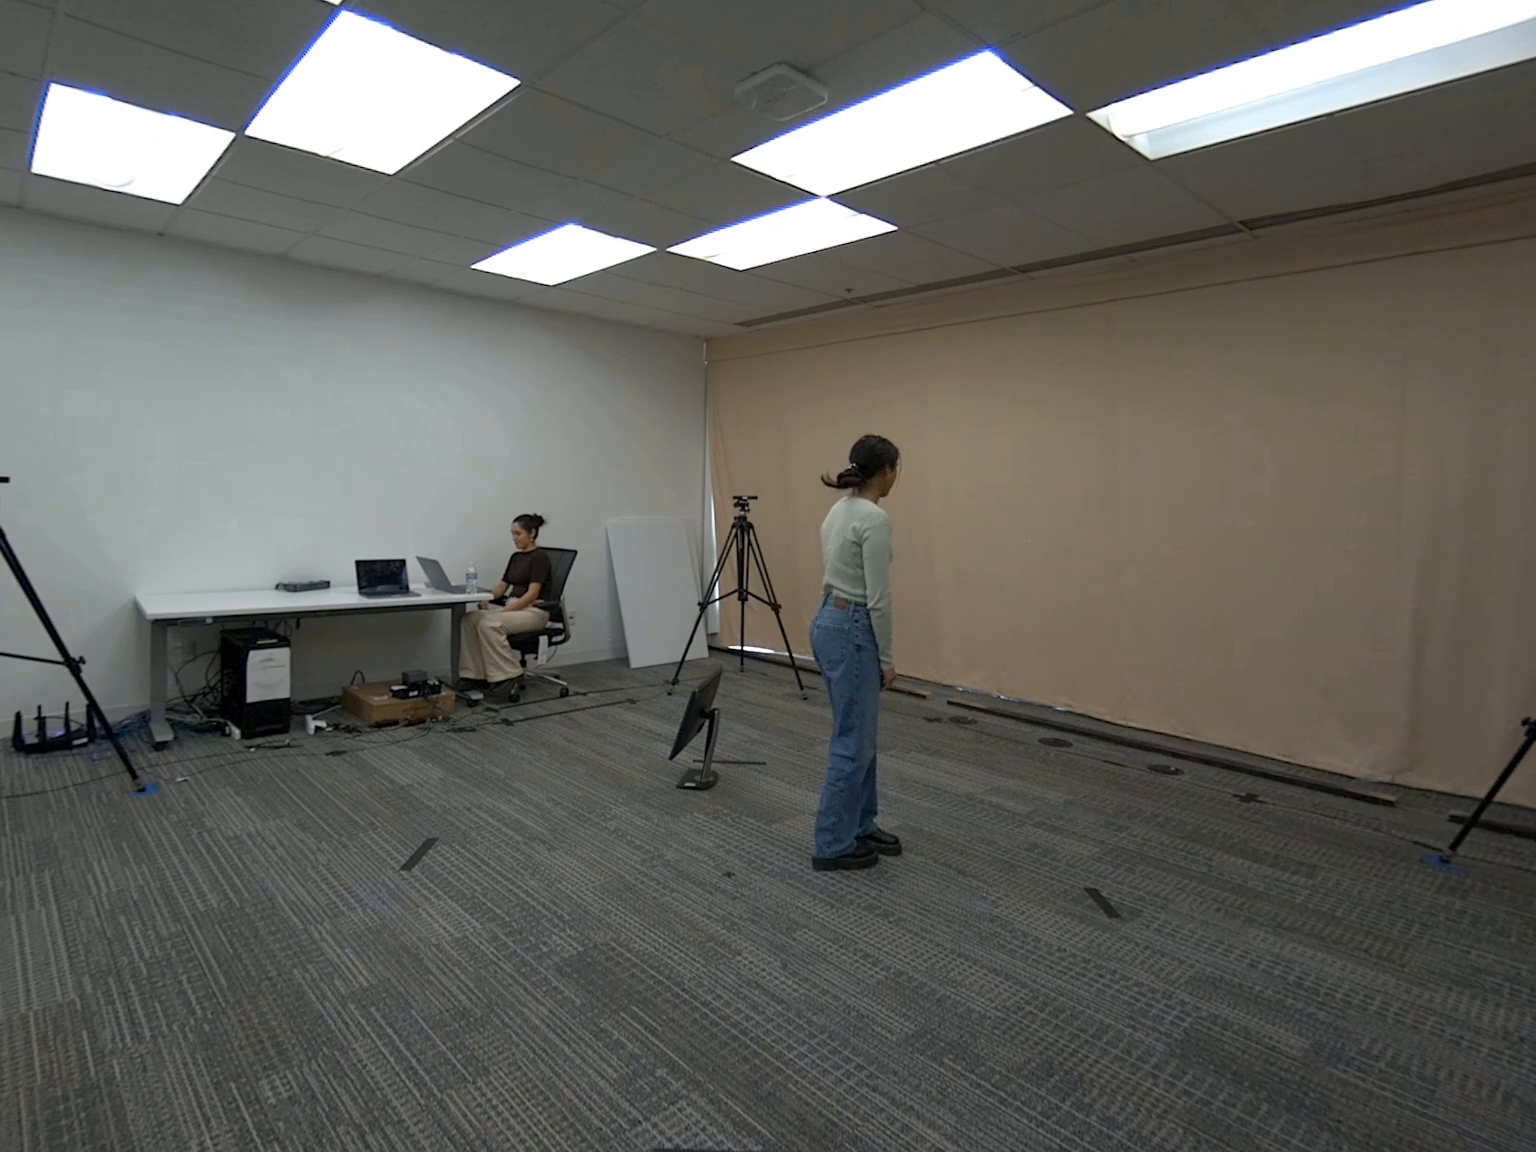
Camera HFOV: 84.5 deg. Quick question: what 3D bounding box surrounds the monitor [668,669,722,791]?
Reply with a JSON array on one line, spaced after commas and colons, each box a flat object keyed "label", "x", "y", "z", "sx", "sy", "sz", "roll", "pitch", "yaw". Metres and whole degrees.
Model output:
[{"label": "monitor", "x": -0.337, "y": 0.745, "z": 4.136, "sx": 0.176, "sy": 0.514, "sz": 0.527, "roll": 1, "pitch": 5, "yaw": 9}]
